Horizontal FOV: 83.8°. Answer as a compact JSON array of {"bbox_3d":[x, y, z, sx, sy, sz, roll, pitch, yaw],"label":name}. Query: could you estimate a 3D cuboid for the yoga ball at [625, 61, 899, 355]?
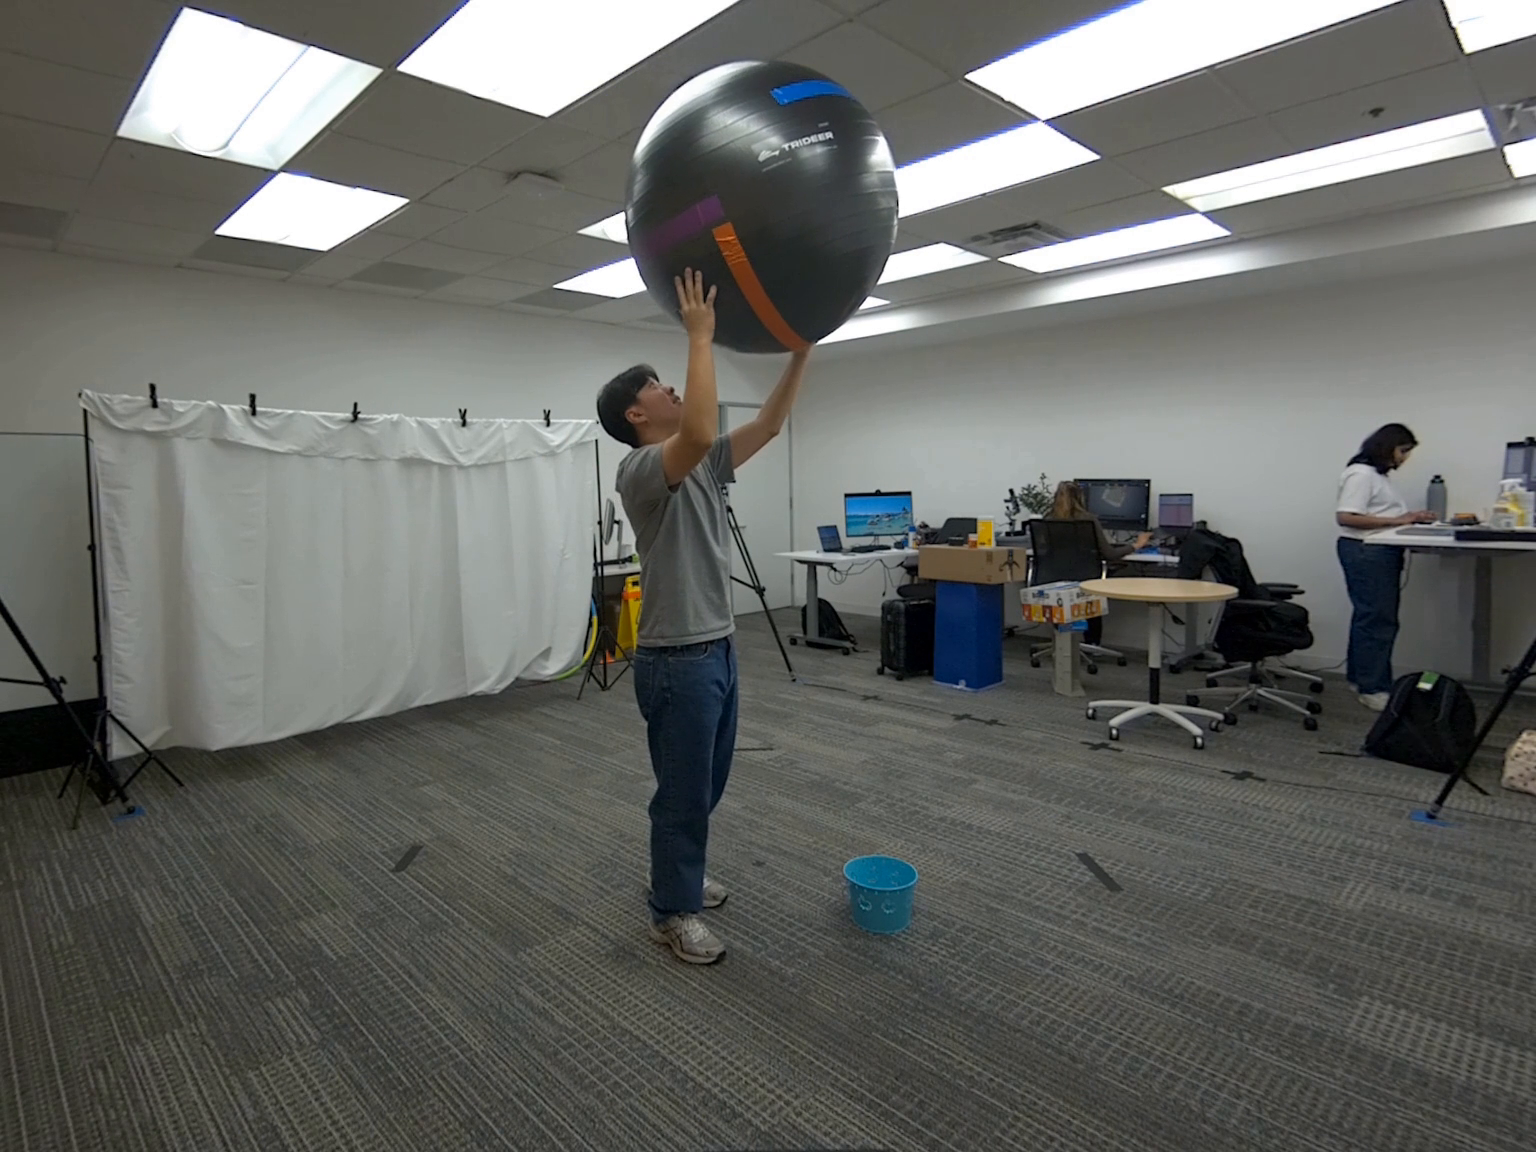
[{"bbox_3d":[-0.018,-0.998,2.370,0.757,0.755,0.762,-1,5,-2],"label":"yoga ball"}]
